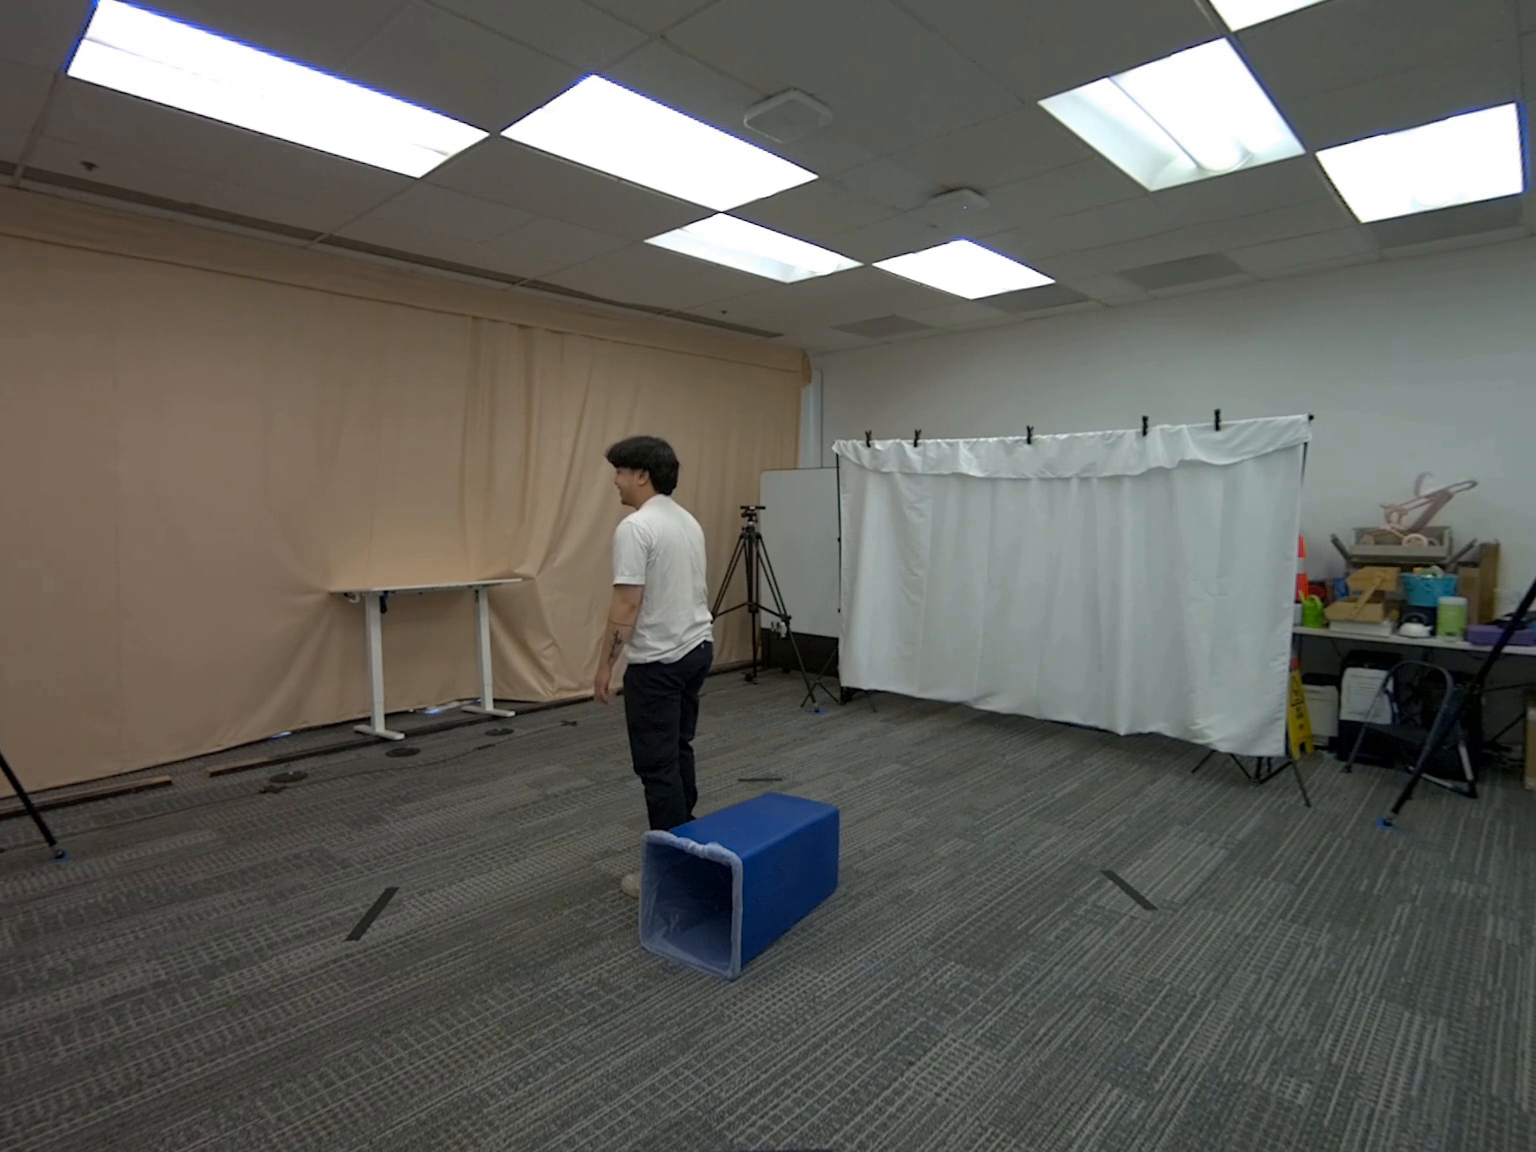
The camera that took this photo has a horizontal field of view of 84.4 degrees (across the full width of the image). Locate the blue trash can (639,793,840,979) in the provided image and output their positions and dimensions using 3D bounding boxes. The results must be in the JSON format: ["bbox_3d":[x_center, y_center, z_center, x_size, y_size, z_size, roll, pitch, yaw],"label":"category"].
[{"bbox_3d":[-0.053,0.993,2.840,0.390,0.374,0.692,1,1,34],"label":"blue trash can"}]
